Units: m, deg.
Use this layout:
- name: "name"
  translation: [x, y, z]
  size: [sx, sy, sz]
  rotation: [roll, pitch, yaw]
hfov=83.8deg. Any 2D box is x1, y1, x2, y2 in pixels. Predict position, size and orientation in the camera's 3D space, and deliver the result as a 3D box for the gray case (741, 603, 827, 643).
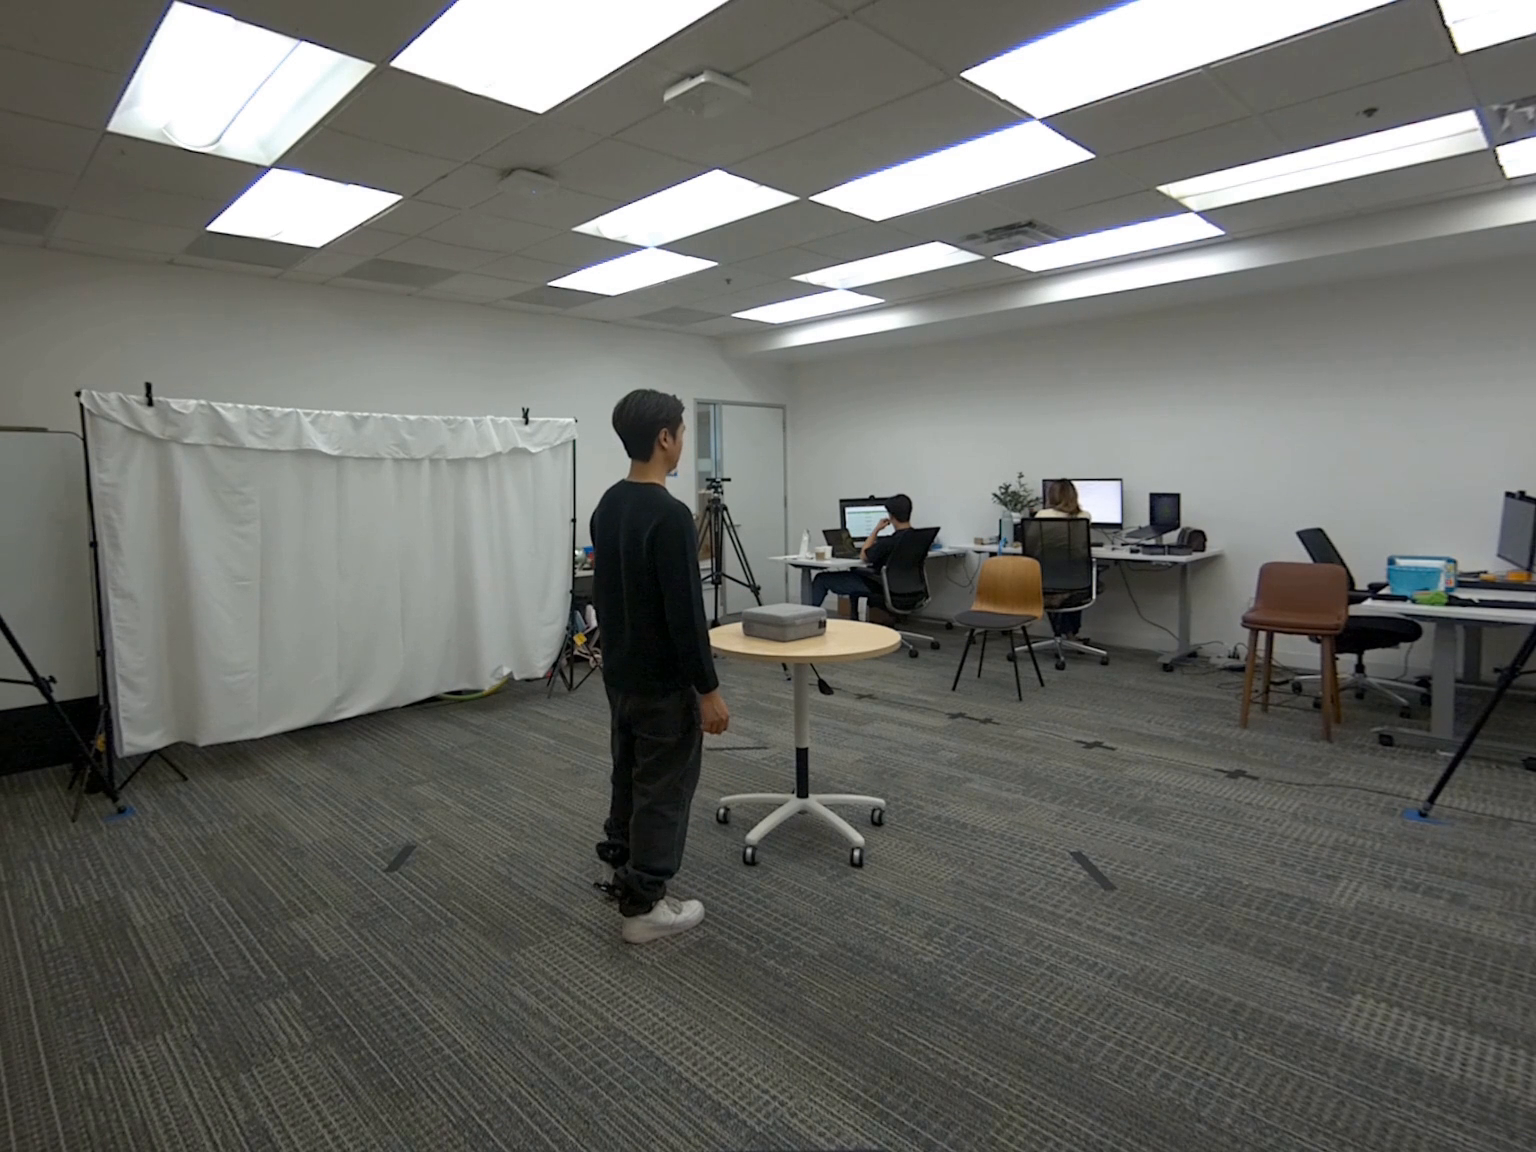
- name: "gray case"
  translation: [0.056, 0.175, 3.338]
  size: [0.250, 0.104, 0.269]
  rotation: [-7, 8, -41]
